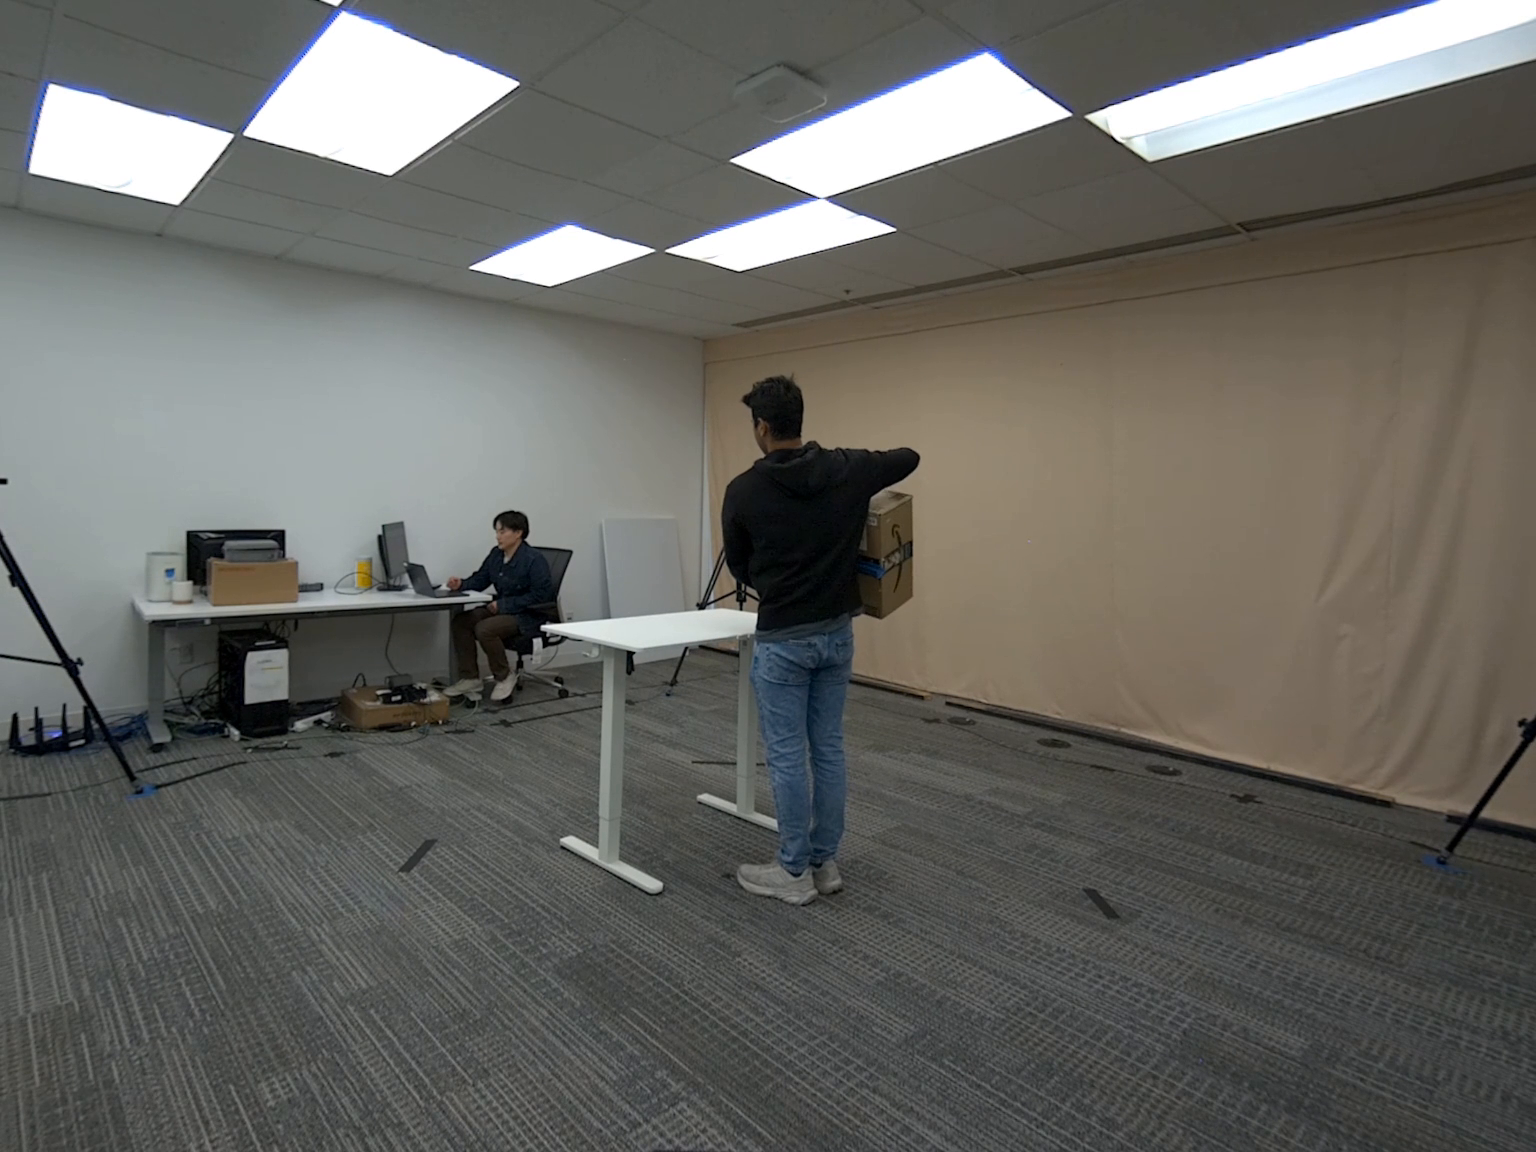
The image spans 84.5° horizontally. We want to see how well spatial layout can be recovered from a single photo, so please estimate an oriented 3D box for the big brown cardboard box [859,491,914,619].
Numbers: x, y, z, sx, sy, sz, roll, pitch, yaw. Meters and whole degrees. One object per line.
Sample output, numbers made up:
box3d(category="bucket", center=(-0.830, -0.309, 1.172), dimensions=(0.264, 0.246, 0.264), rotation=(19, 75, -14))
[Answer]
box3d(category="big brown cardboard box", center=(0.252, -0.127, 3.222), dimensions=(0.606, 0.410, 0.230), rotation=(17, 31, 40))
